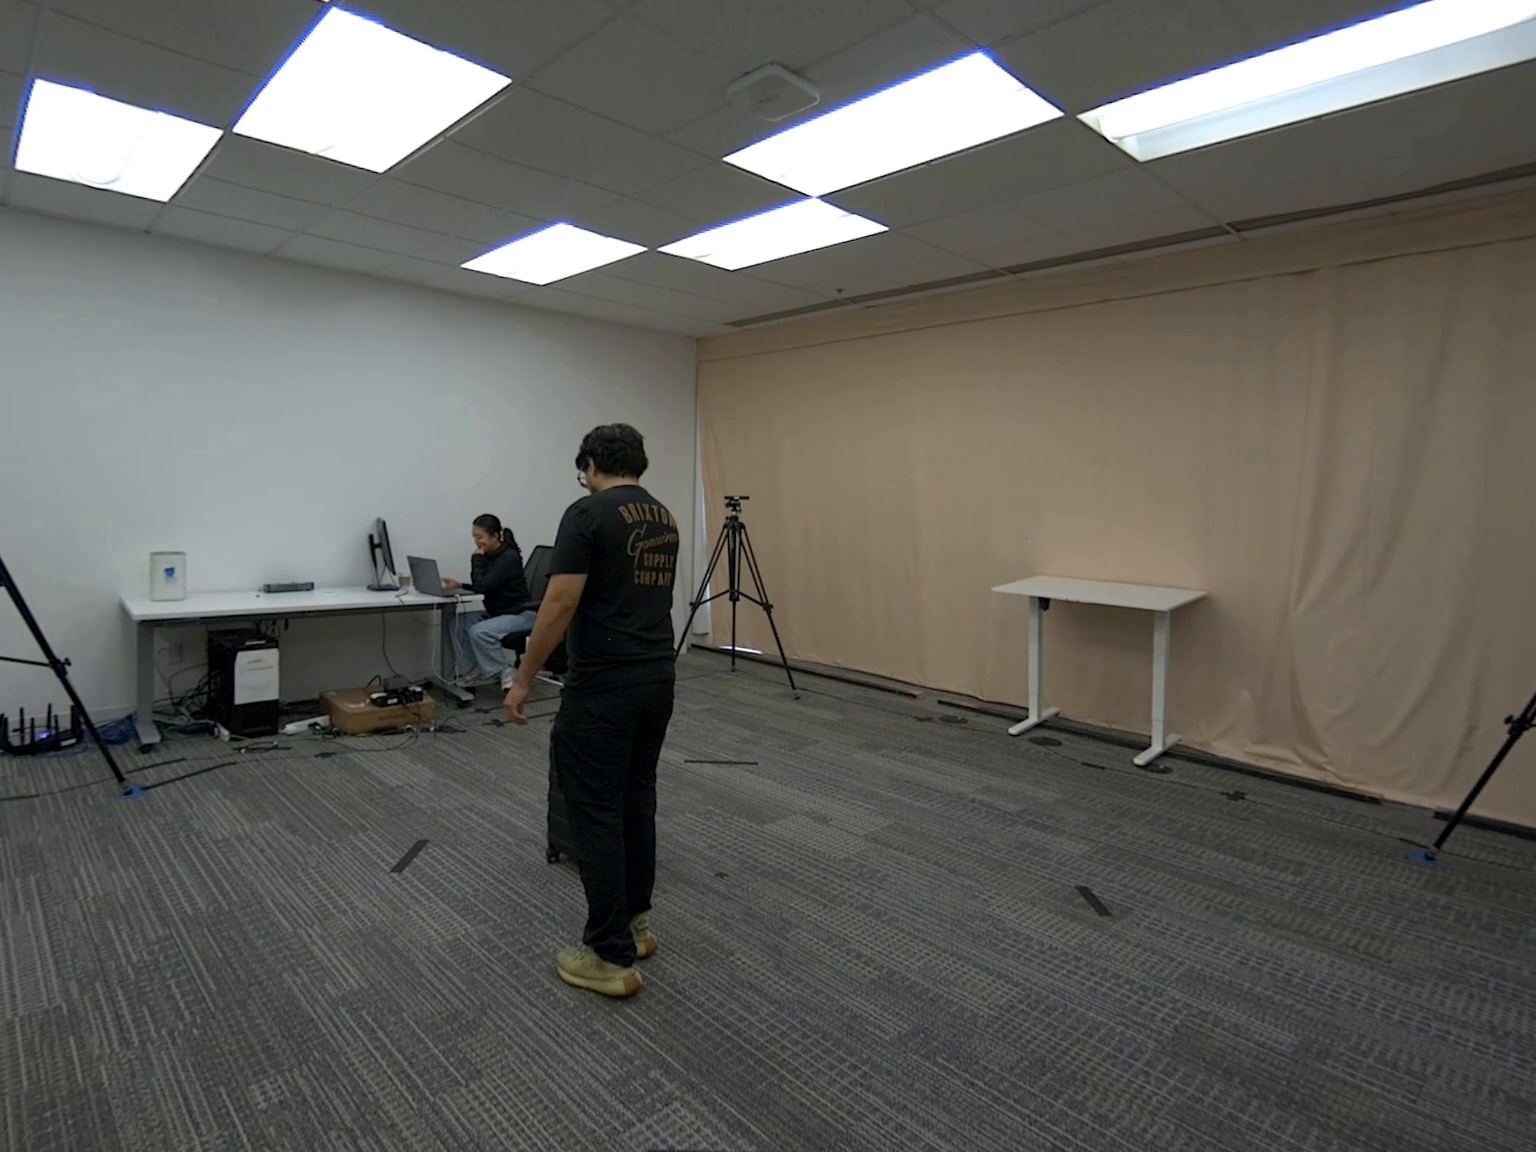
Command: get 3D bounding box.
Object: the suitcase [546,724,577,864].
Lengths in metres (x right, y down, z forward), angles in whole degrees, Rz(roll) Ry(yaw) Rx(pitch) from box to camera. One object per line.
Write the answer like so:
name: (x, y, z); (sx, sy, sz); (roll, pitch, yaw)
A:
suitcase: (-0.642, 0.613, 3.144); (0.251, 0.977, 0.393); (-2, 2, -44)
